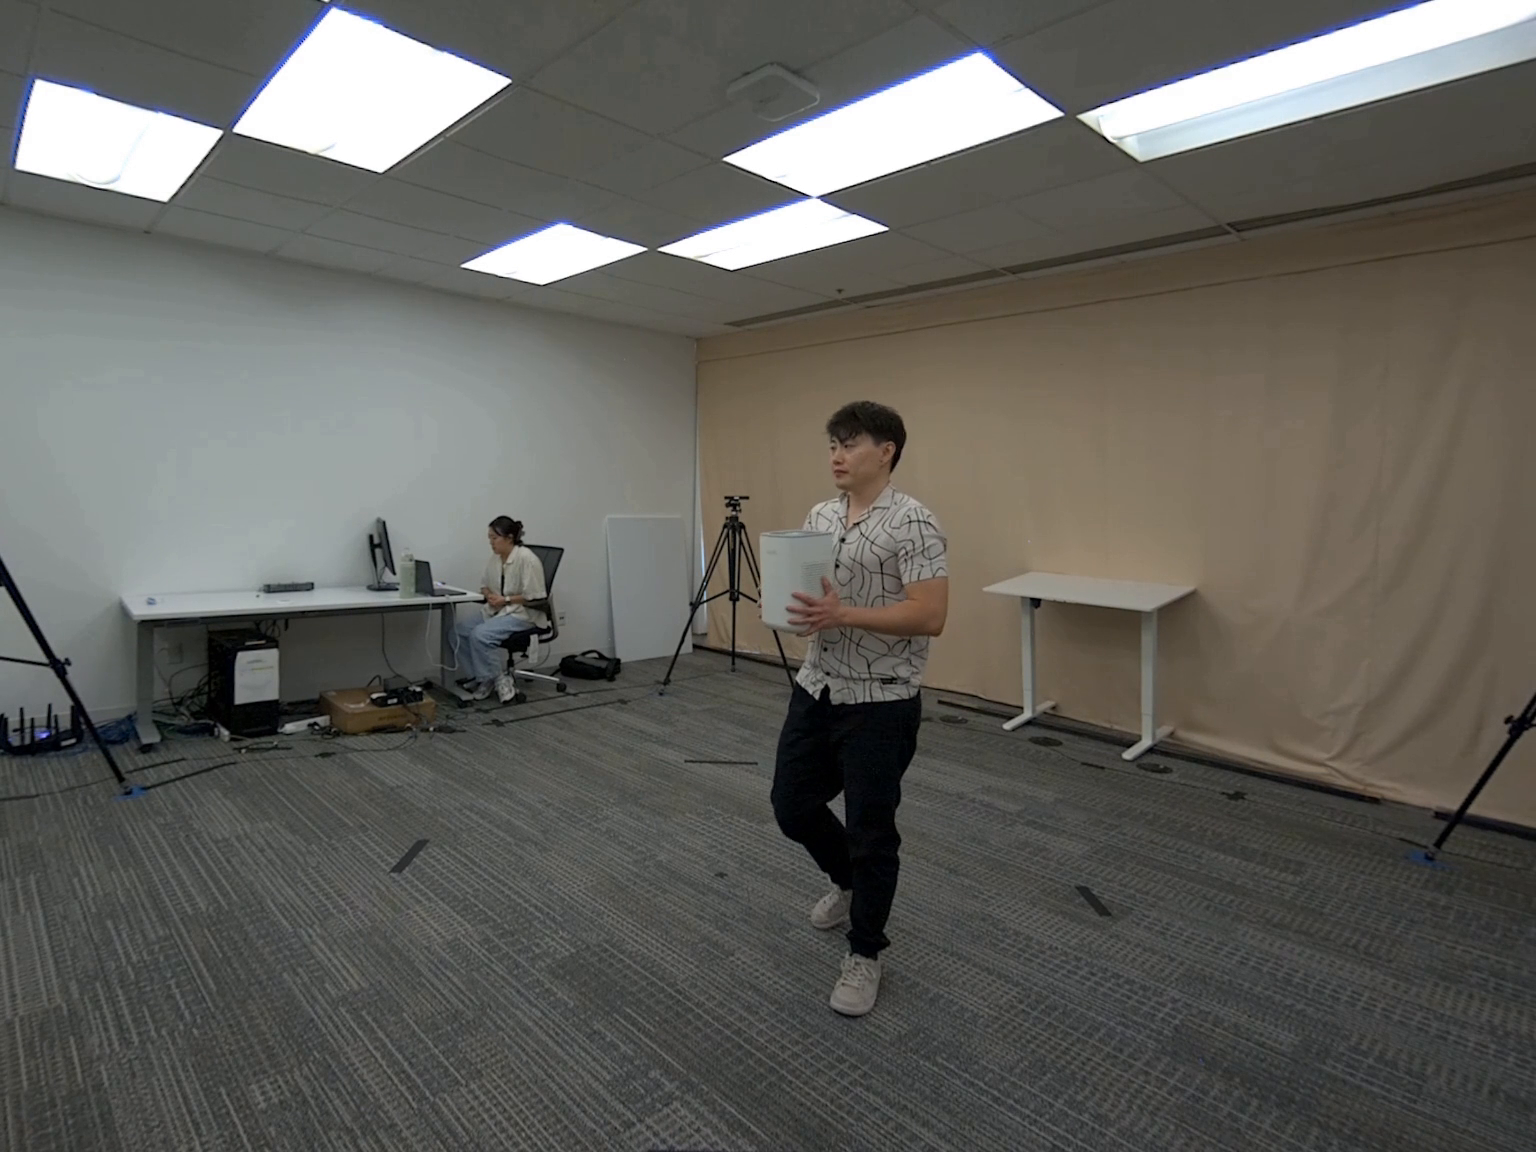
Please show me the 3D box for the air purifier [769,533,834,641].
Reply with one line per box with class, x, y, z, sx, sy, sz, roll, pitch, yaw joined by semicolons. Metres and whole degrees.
air purifier;0.126;0.024;2.301;0.175;0.264;0.168;4;7;42
